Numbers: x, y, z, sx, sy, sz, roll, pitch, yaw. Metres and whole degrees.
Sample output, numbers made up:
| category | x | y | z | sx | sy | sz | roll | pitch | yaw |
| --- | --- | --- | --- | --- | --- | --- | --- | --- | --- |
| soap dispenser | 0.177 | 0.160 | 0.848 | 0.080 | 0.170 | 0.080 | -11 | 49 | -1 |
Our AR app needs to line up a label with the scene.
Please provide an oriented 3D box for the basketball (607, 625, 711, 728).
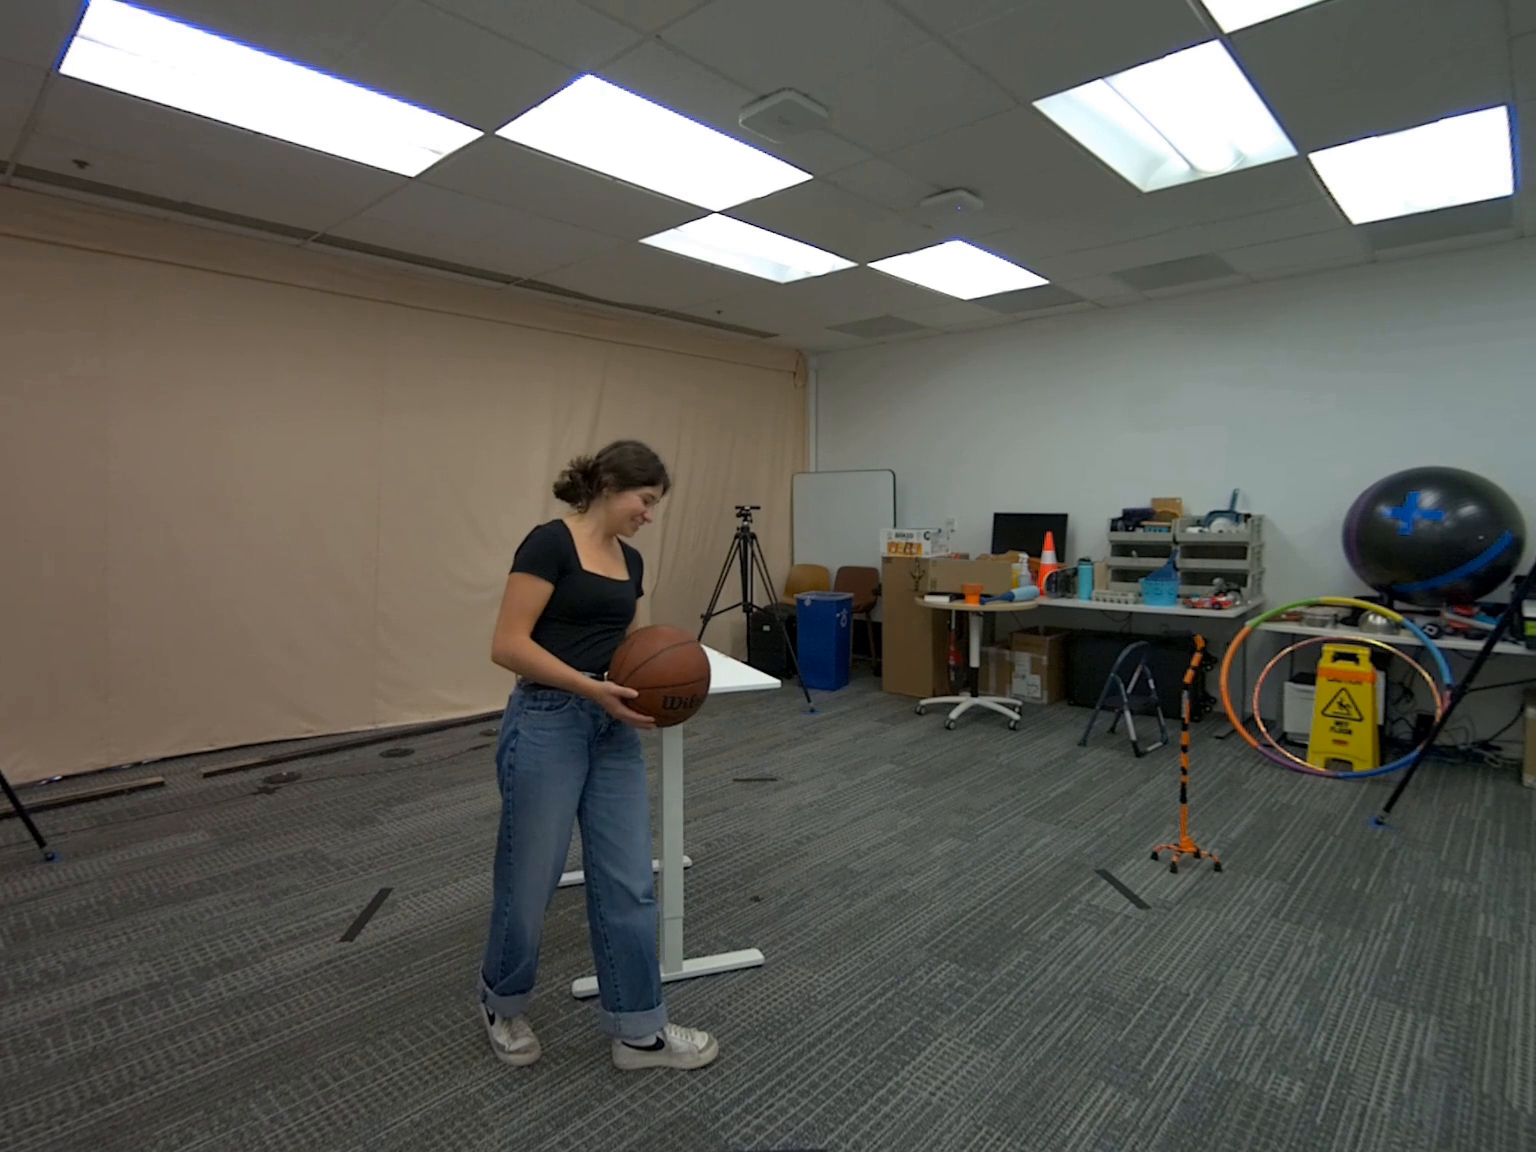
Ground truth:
| category | x | y | z | sx | sy | sz | roll | pitch | yaw |
| --- | --- | --- | --- | --- | --- | --- | --- | --- | --- |
| basketball | -0.253 | 0.234 | 1.952 | 0.236 | 0.235 | 0.237 | 0 | 4 | -2 |
